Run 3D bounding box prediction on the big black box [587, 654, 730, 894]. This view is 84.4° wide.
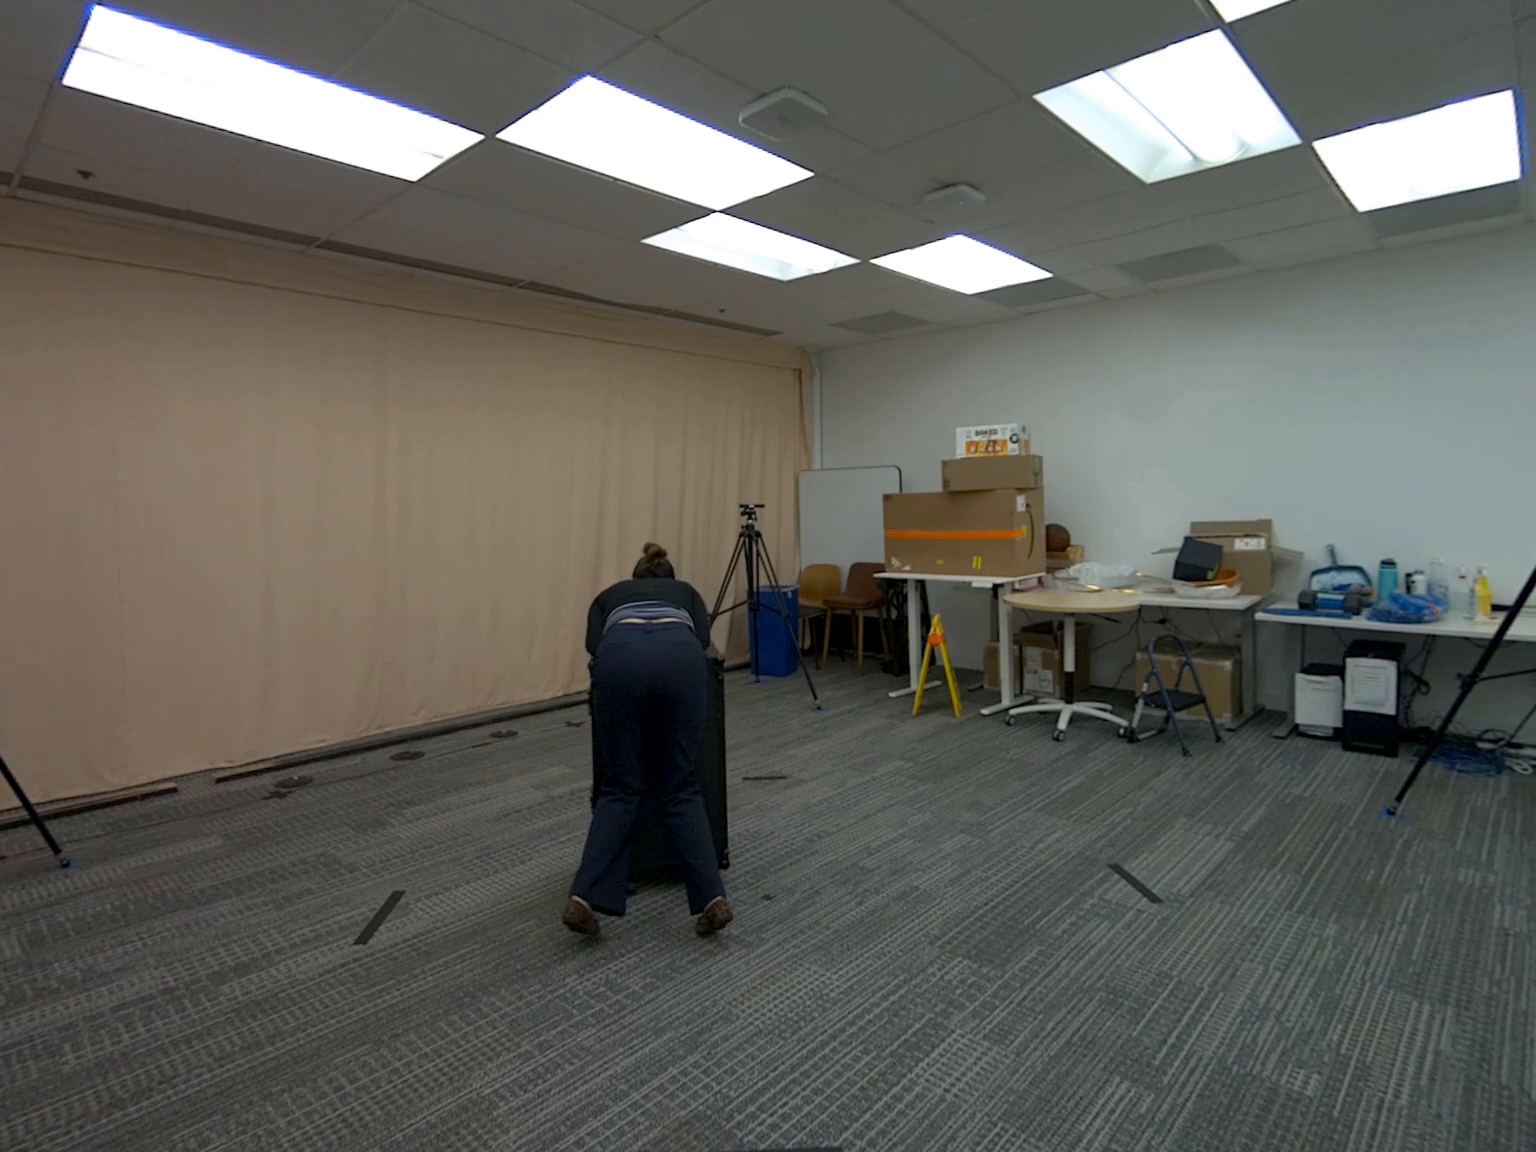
[{"bbox_3d":[-0.412,0.713,3.175,0.516,0.859,0.401,-1,4,-9],"label":"big black box"}]
